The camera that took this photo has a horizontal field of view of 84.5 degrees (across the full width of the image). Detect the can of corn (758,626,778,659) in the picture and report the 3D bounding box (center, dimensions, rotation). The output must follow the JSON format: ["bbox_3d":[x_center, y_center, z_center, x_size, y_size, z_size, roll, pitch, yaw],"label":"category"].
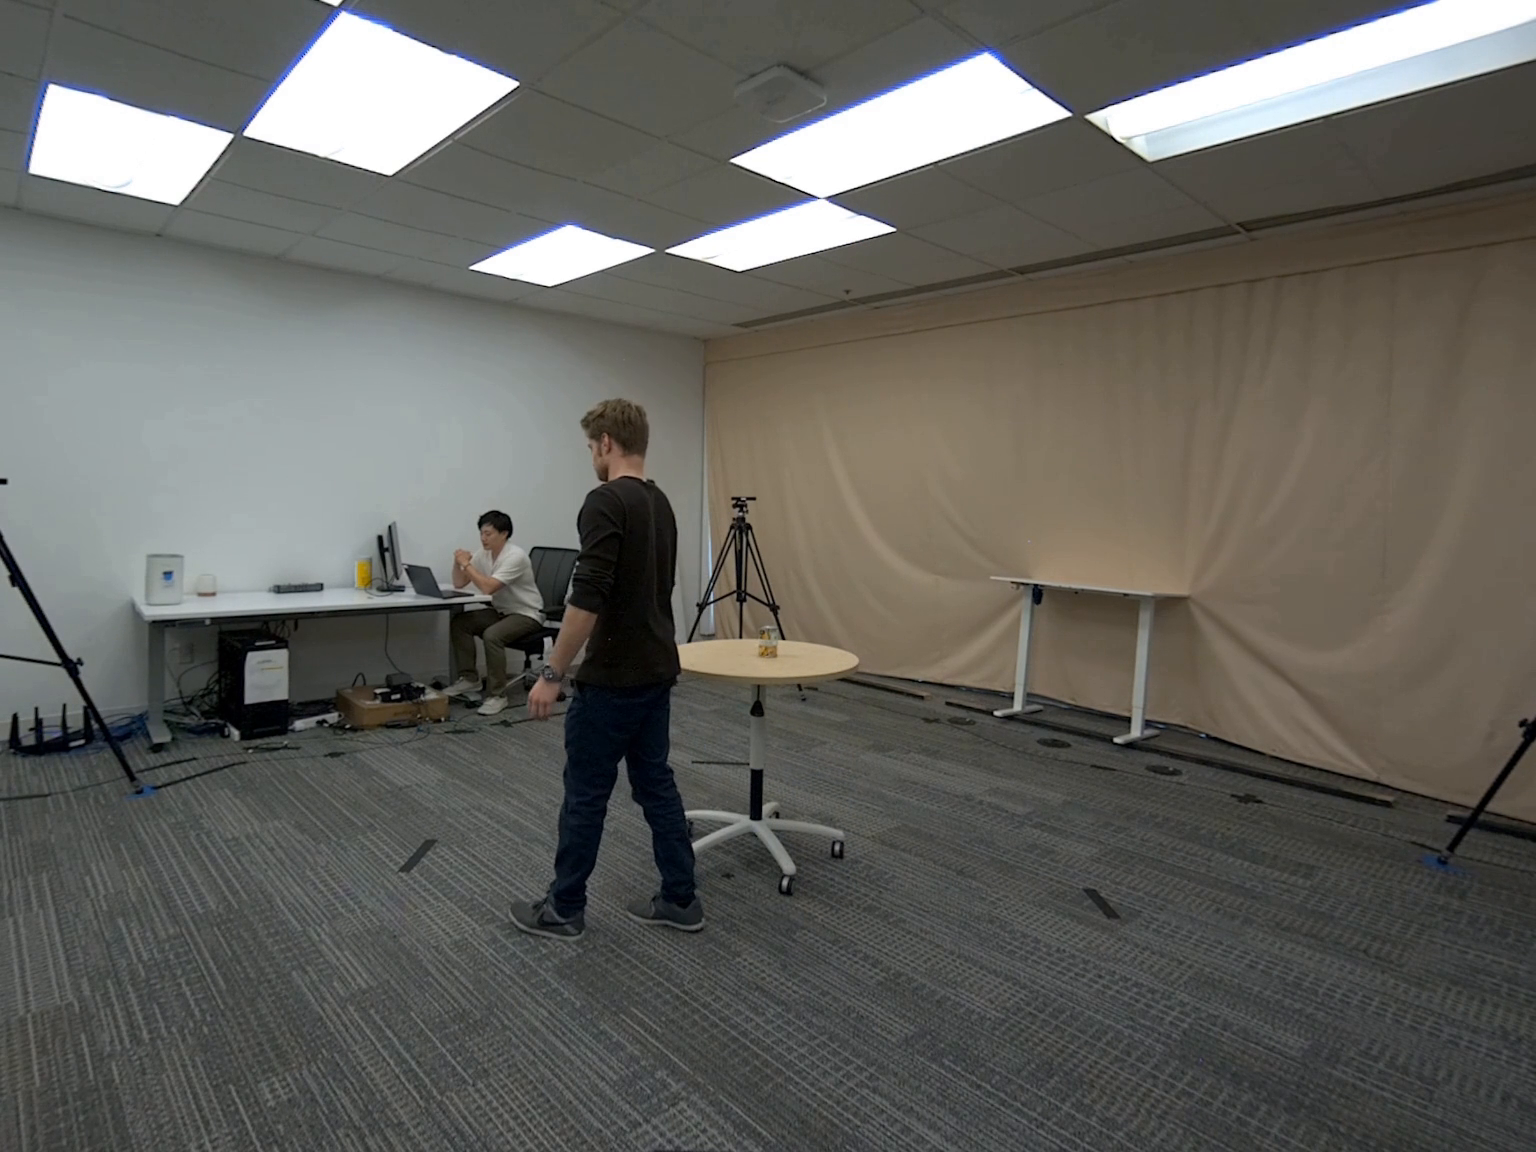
[{"bbox_3d":[-0.003,0.259,3.265,0.074,0.111,0.074,2,2,-1],"label":"can of corn"}]
